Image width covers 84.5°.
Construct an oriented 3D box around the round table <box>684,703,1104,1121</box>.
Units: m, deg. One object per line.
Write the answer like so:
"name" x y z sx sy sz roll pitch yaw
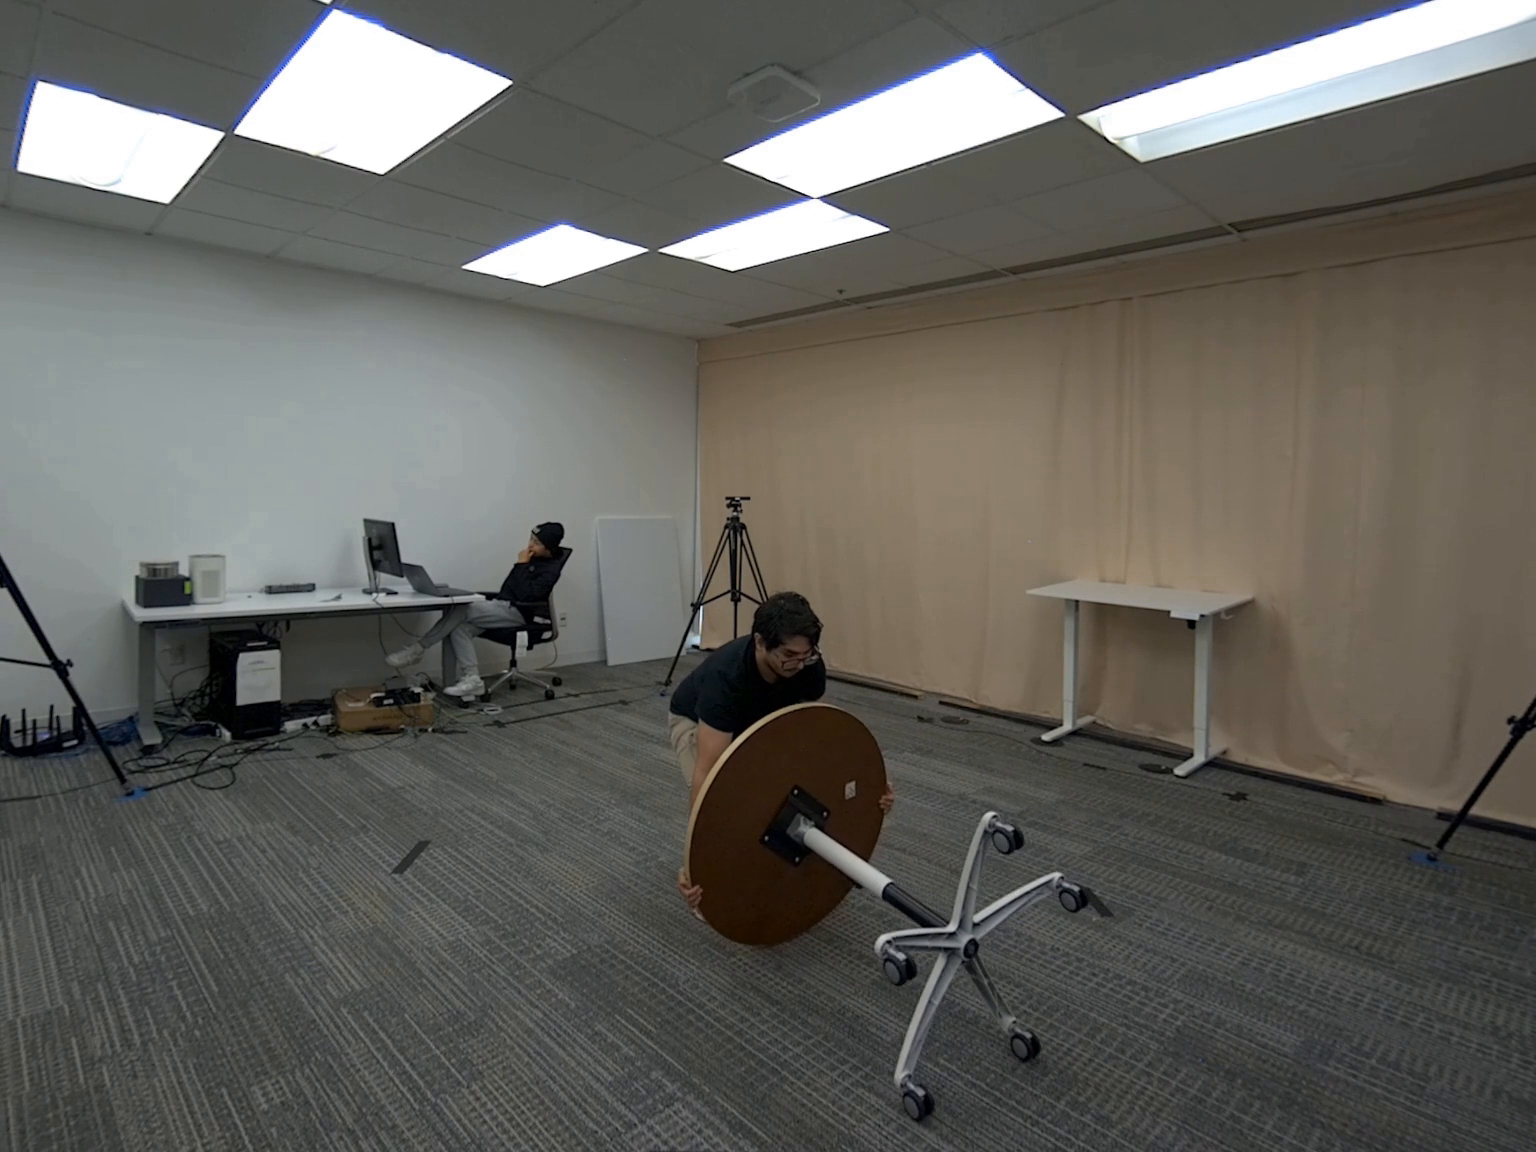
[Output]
"round table" 0.291 0.837 2.277 0.768 0.780 0.808 -2 11 -35
